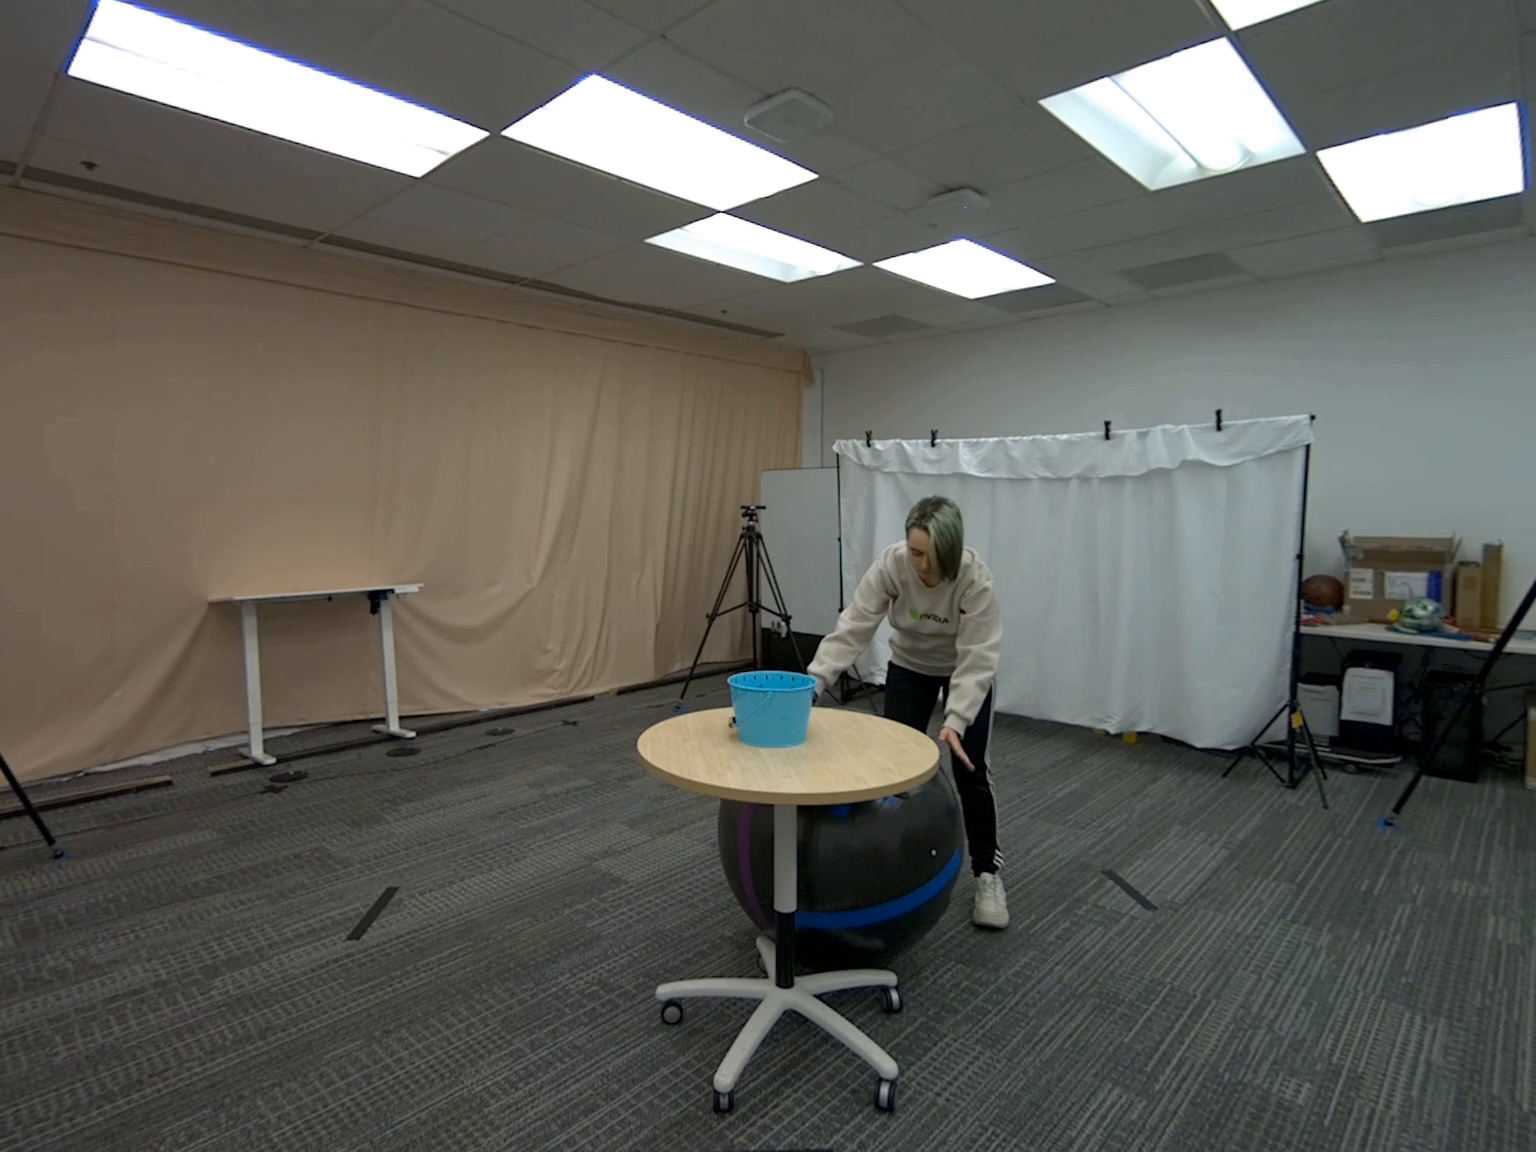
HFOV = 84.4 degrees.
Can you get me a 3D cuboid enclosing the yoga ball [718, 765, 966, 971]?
[{"bbox_3d":[0.227,0.802,2.638,0.757,0.756,0.761,0,4,-2],"label":"yoga ball"}]
